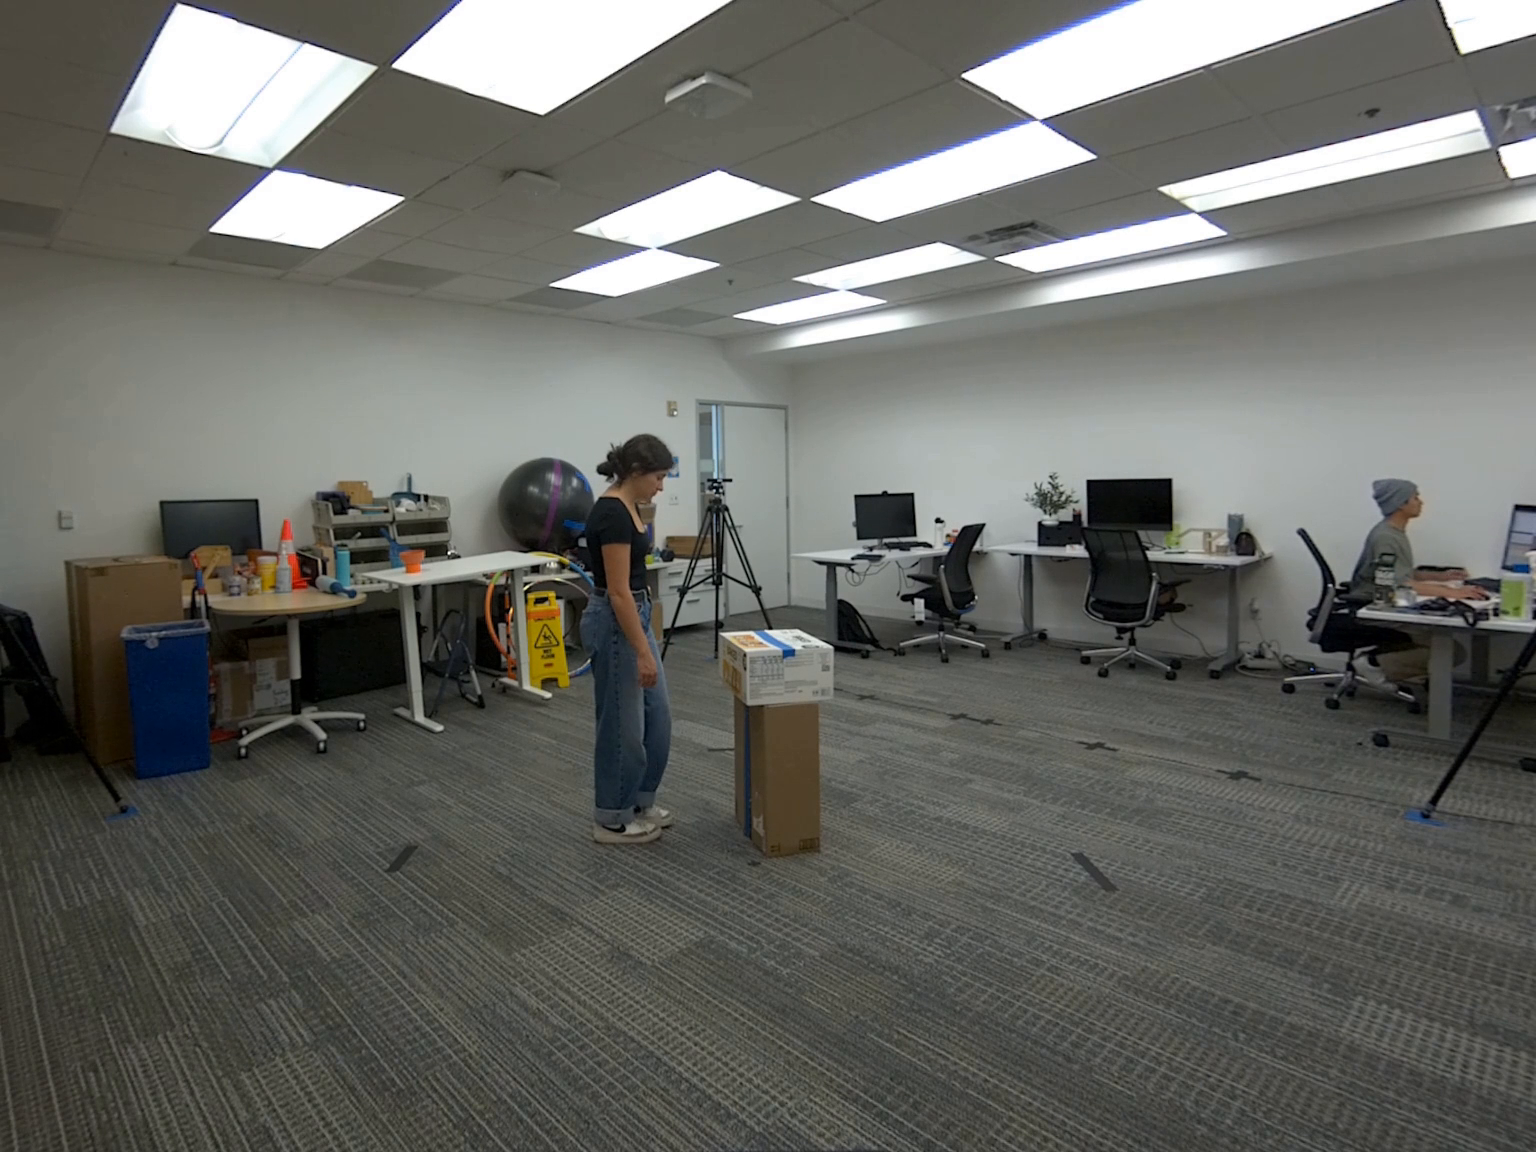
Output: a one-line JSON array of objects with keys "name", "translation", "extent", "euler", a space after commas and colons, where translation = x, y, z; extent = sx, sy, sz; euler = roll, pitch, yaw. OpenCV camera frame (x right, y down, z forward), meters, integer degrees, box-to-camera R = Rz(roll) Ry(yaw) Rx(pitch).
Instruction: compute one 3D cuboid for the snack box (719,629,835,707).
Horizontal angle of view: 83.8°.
[{"name": "snack box", "translation": [0.021, 0.346, 3.339], "extent": [0.335, 0.205, 0.413], "euler": [-2, 6, -16]}]
